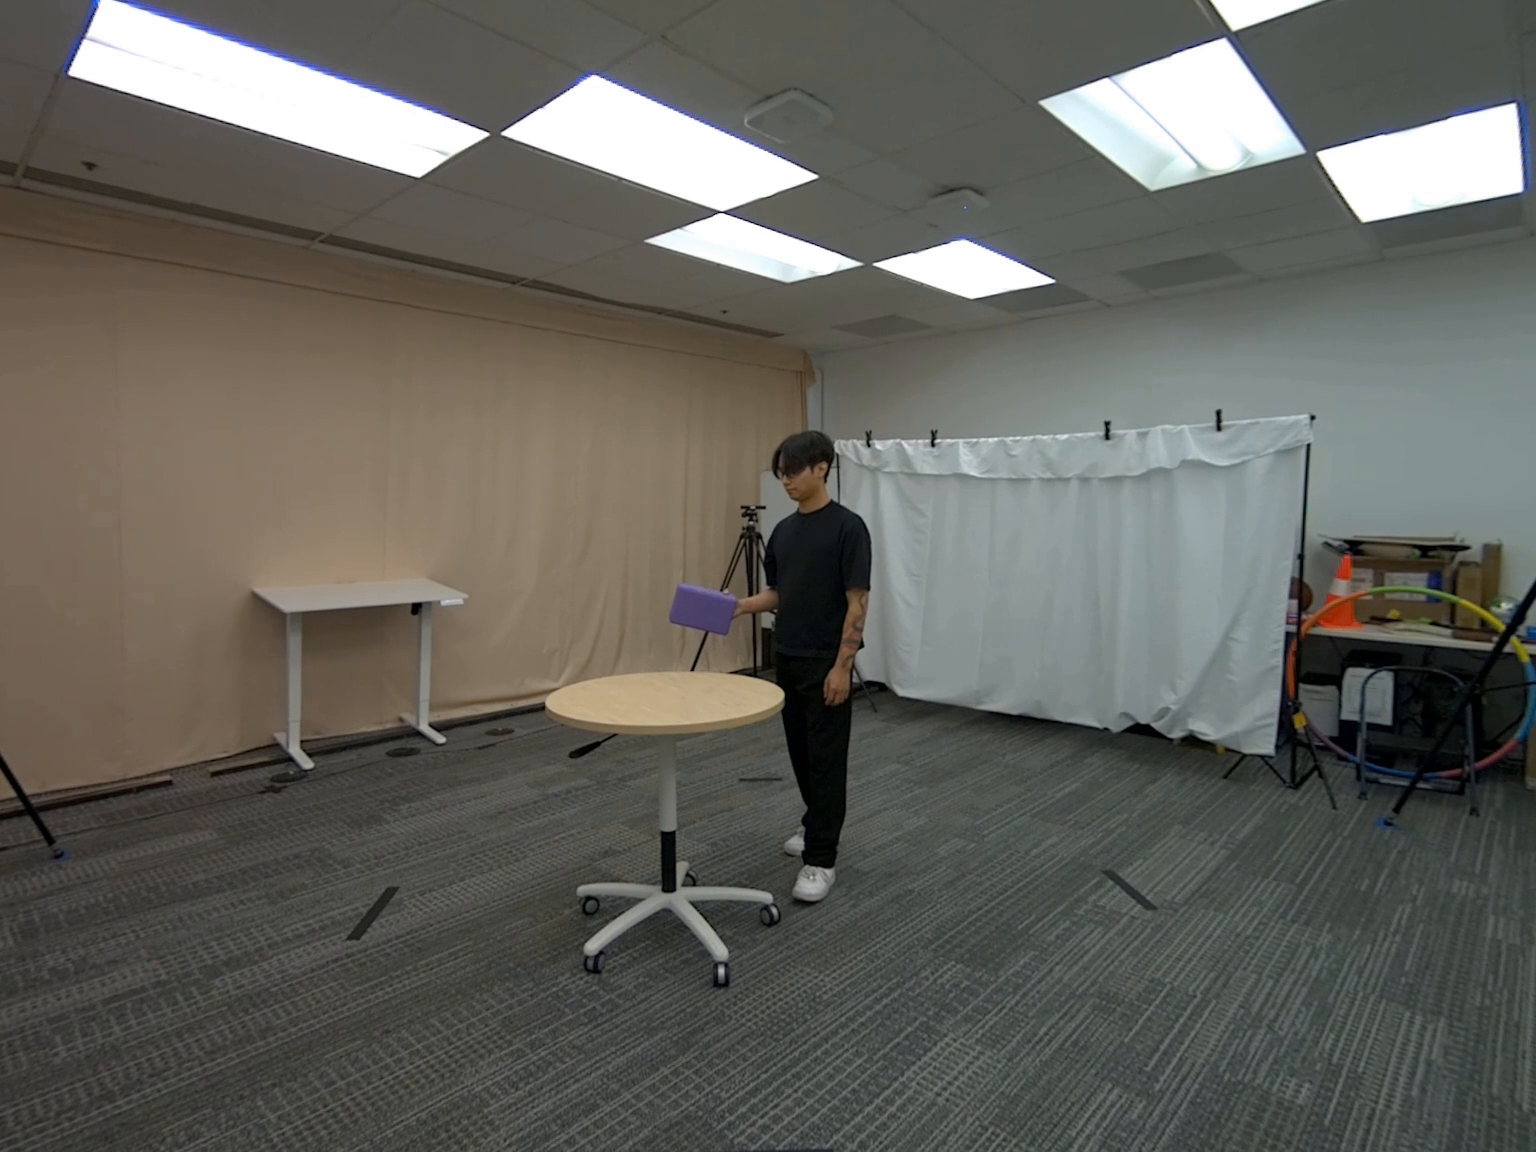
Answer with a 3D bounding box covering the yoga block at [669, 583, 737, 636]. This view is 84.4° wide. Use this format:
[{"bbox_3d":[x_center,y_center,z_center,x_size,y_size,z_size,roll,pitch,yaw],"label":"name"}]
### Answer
[{"bbox_3d":[-0.237,0.125,3.196,0.231,0.148,0.076,14,11,6],"label":"yoga block"}]
